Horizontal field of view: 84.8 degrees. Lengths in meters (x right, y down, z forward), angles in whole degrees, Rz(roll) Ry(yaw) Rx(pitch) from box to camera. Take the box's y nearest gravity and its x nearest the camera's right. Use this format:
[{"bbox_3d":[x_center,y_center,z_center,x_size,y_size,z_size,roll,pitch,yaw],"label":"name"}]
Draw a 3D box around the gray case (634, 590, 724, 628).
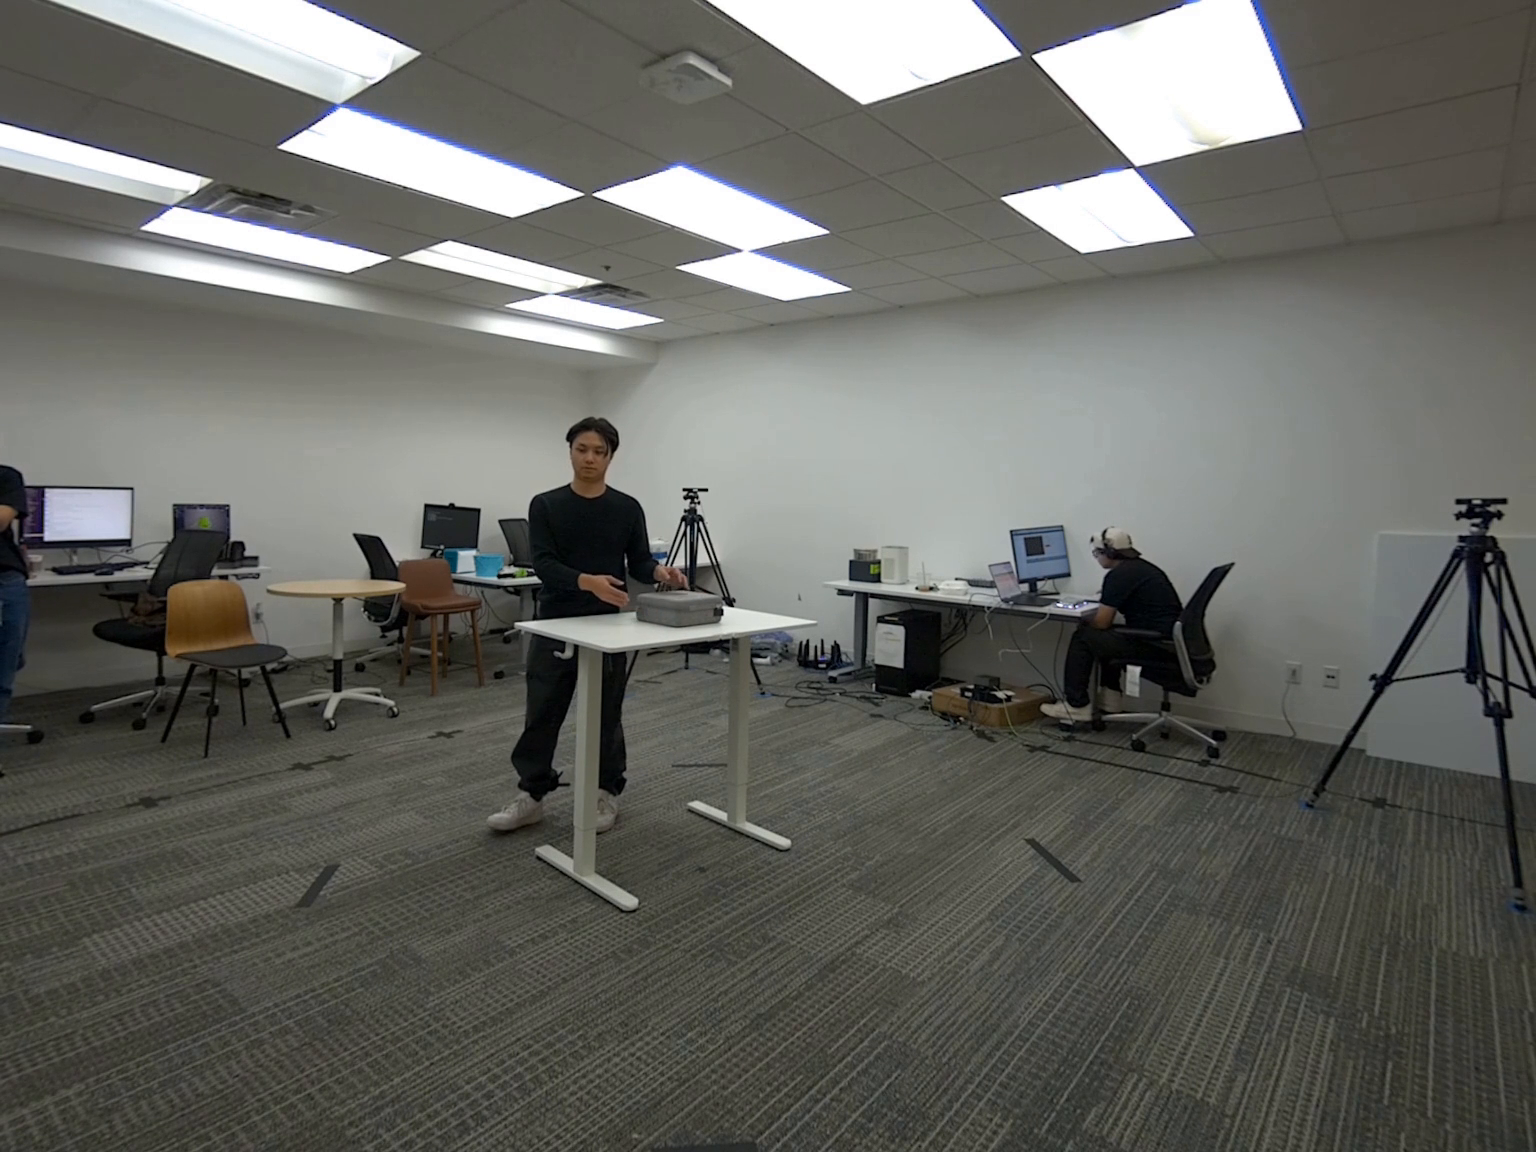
[{"bbox_3d":[-0.352,0.119,3.238,0.269,0.104,0.249,6,7,43],"label":"gray case"}]
